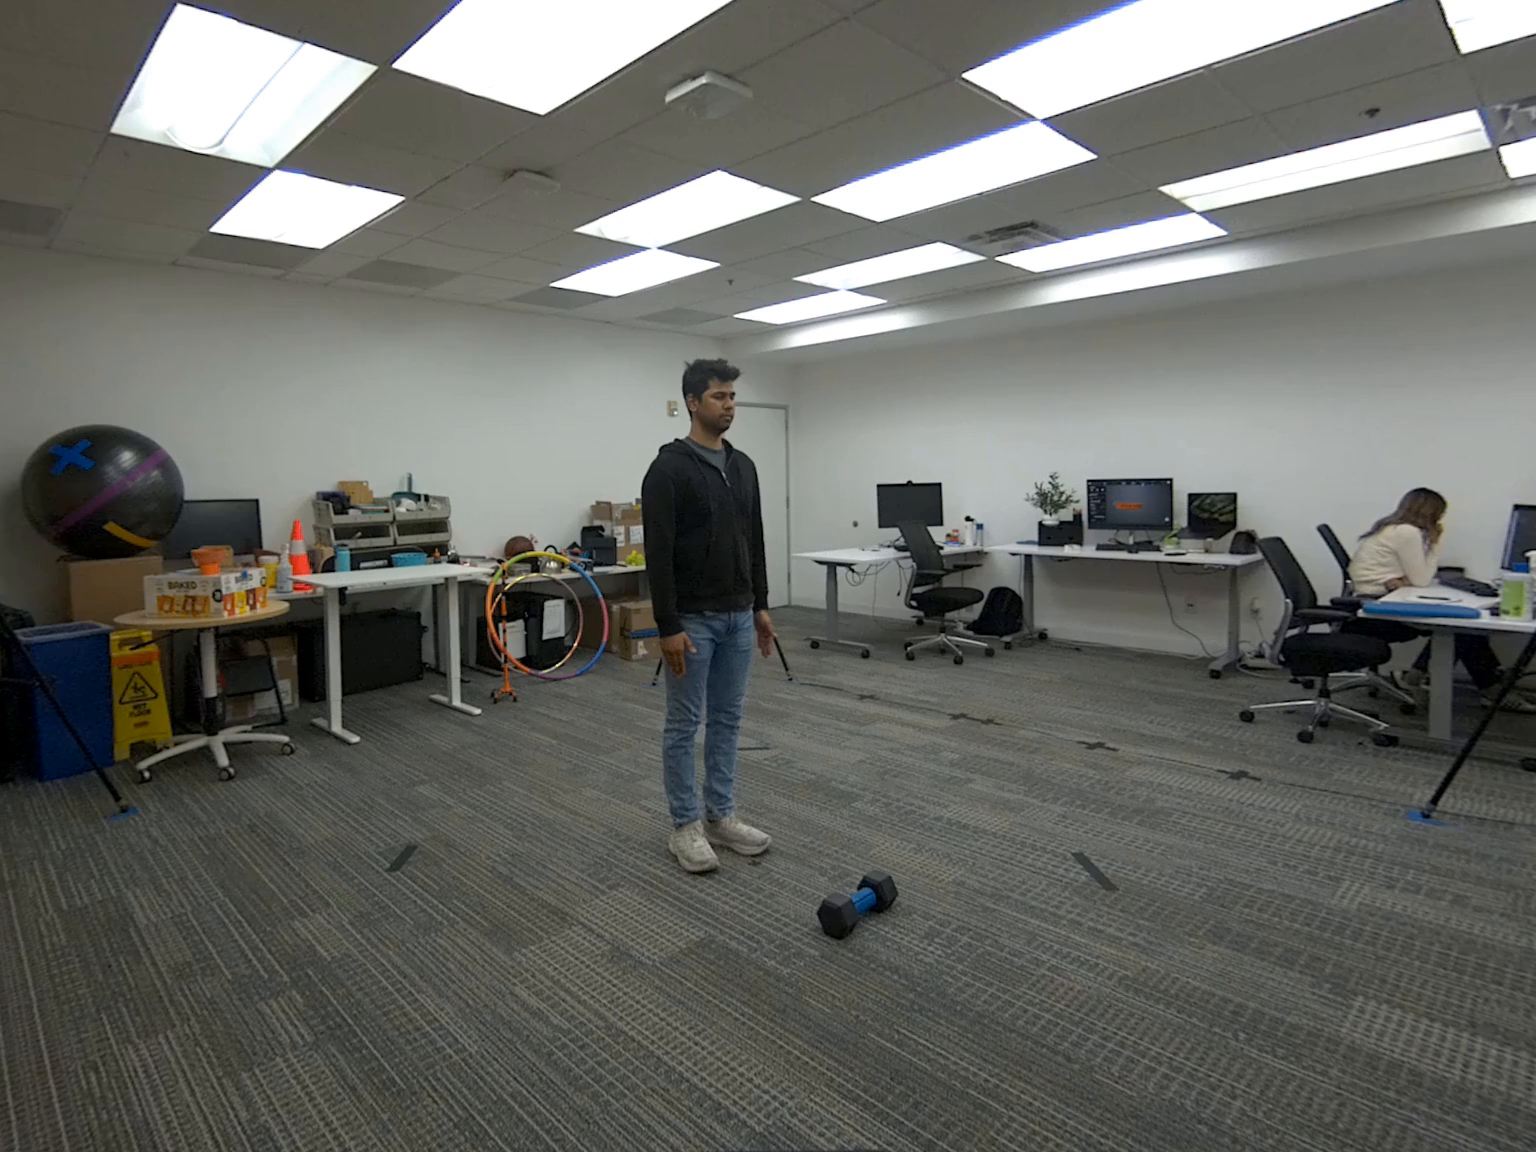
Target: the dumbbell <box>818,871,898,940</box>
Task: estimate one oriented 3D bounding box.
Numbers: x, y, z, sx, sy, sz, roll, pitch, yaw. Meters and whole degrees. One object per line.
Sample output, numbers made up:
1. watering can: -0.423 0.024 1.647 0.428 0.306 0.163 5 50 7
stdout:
1. dumbbell: 0.292 1.032 2.694 0.286 0.121 0.113 -8 39 -47
